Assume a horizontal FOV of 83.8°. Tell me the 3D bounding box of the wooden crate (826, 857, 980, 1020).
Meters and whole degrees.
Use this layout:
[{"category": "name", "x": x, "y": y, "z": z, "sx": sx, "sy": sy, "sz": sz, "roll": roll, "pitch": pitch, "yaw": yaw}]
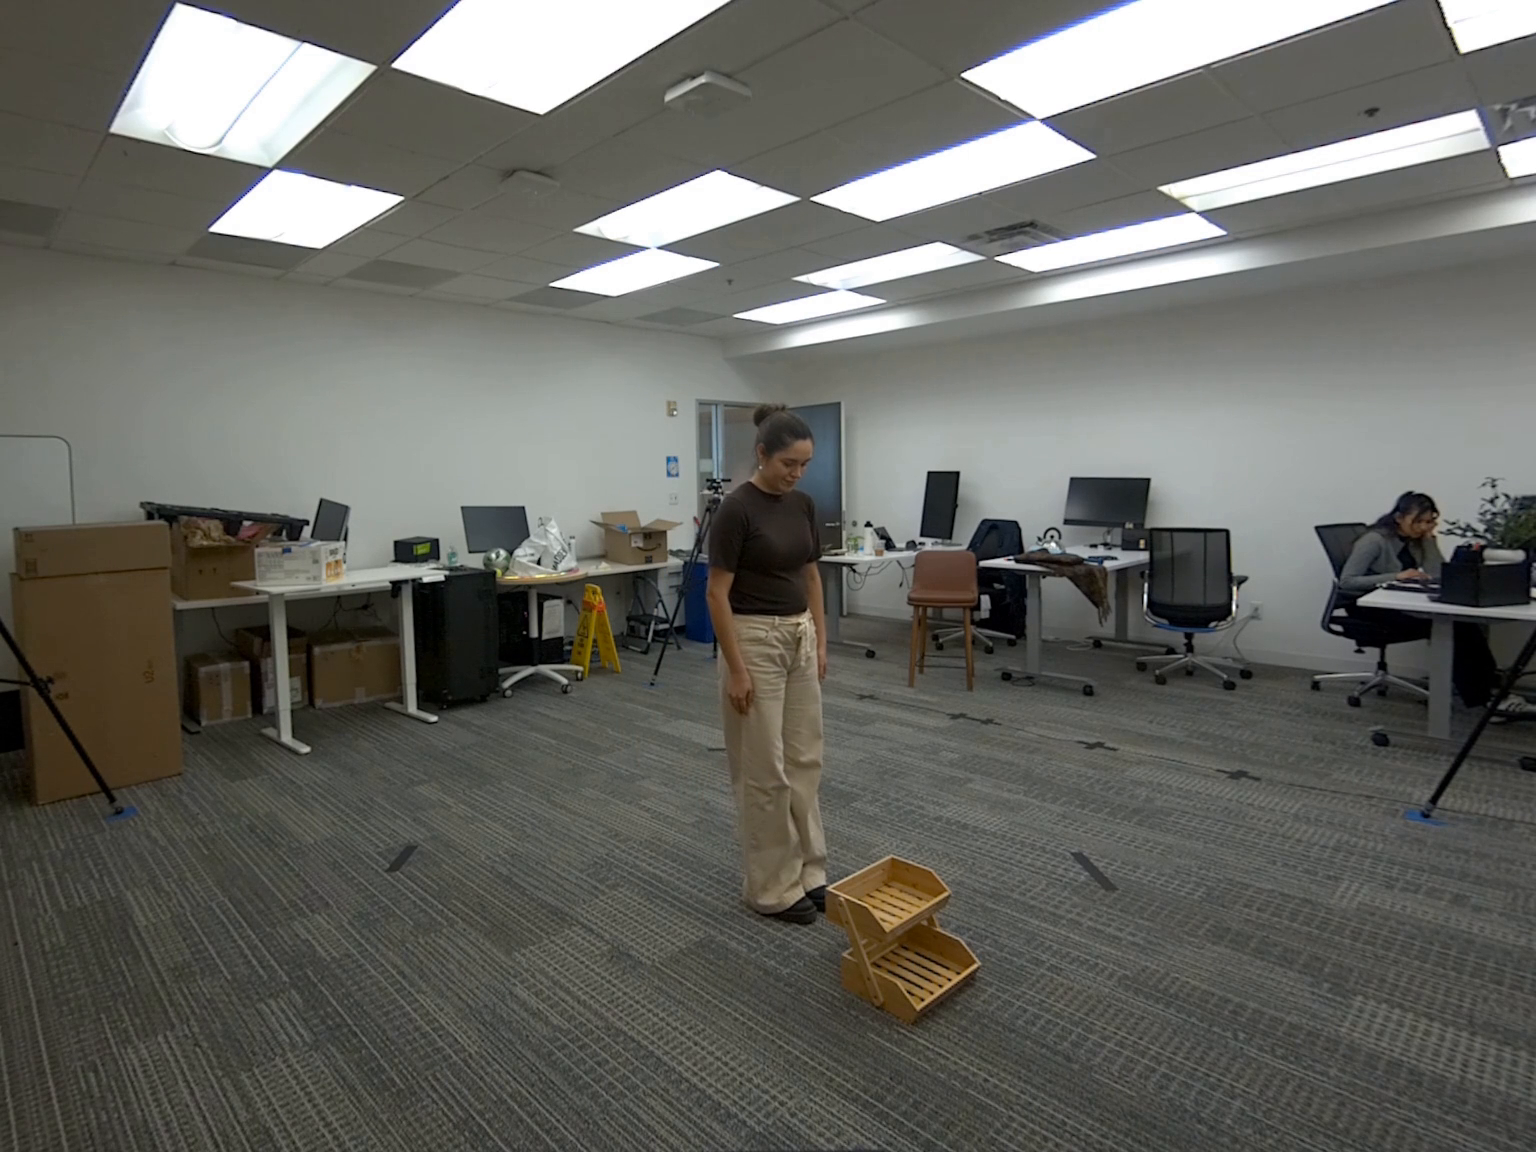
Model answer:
[{"category": "wooden crate", "x": 0.384, "y": 0.992, "z": 2.363, "sx": 0.316, "sy": 0.272, "sz": 0.311, "roll": -7, "pitch": 7, "yaw": -44}]
